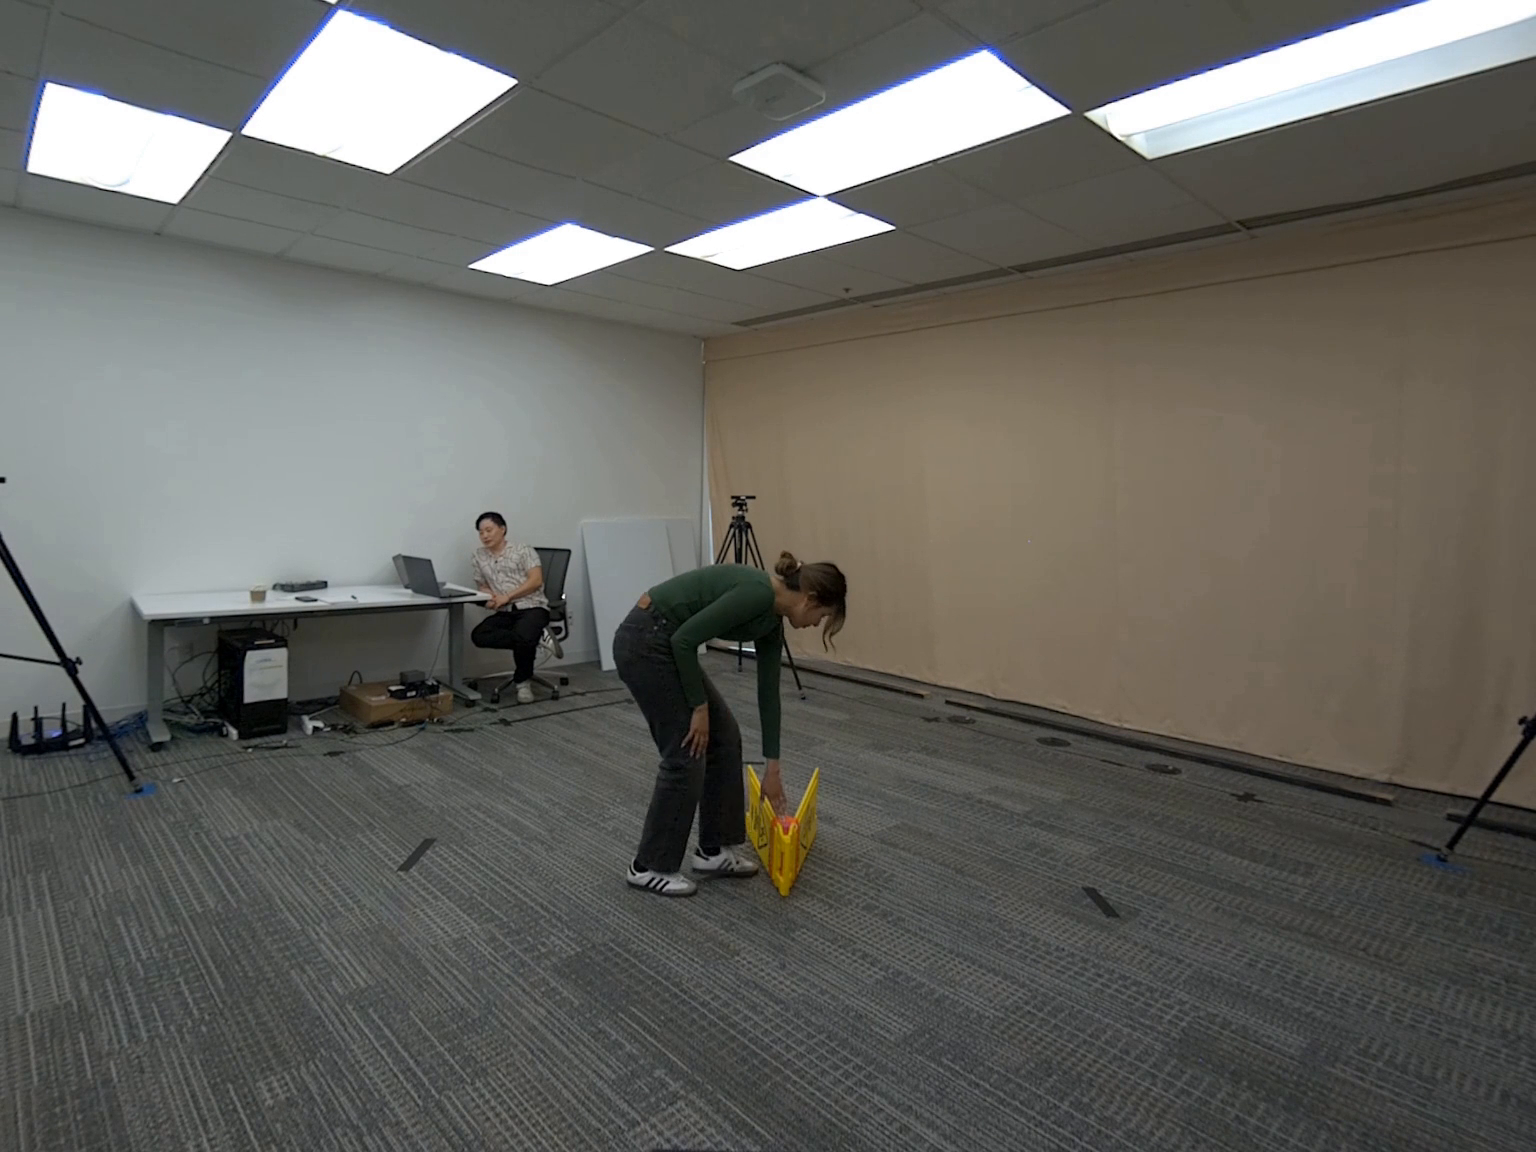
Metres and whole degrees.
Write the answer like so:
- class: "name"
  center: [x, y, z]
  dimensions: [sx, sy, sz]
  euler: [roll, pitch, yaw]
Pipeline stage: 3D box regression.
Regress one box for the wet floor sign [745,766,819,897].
- class: "wet floor sign"
  center: [0.056, 0.965, 3.196]
  dimensions: [0.290, 0.281, 0.648]
  euler: [2, 7, 0]
